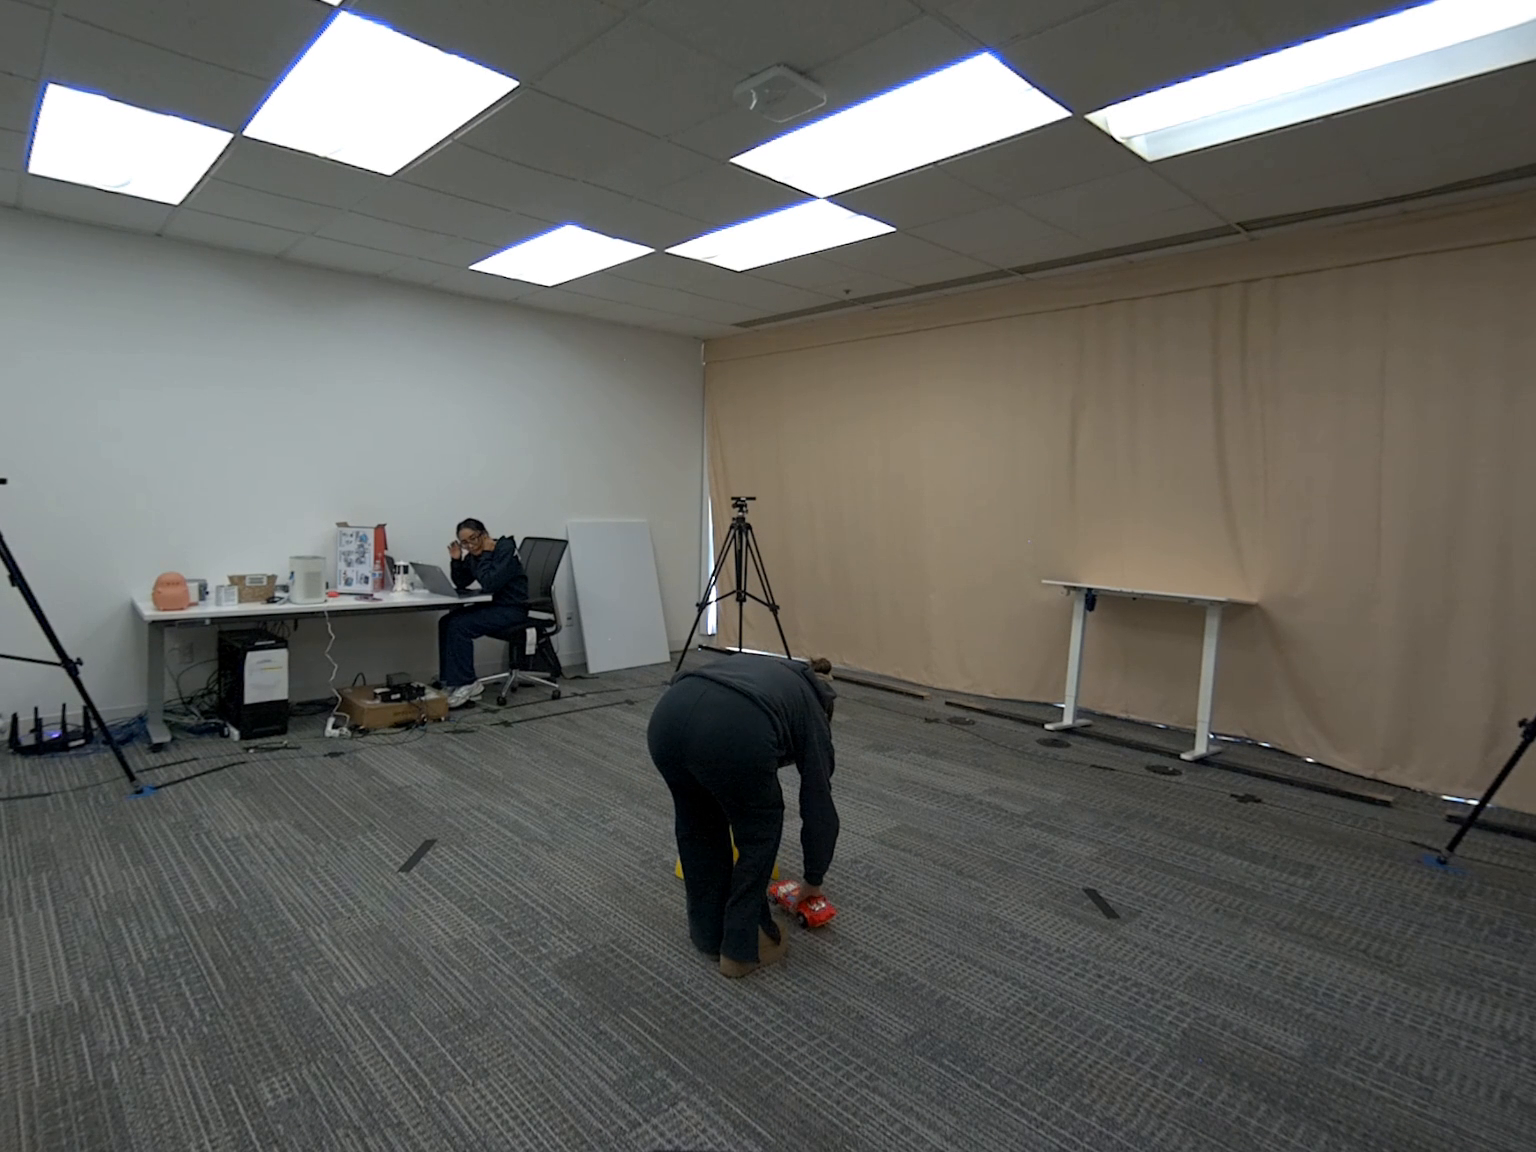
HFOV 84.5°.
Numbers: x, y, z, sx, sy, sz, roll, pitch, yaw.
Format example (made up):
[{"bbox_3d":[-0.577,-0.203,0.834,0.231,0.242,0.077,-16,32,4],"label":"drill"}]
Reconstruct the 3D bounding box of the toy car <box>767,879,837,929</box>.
[{"bbox_3d":[0.106,1.095,2.795,0.128,0.083,0.260,-8,4,-38],"label":"toy car"}]
